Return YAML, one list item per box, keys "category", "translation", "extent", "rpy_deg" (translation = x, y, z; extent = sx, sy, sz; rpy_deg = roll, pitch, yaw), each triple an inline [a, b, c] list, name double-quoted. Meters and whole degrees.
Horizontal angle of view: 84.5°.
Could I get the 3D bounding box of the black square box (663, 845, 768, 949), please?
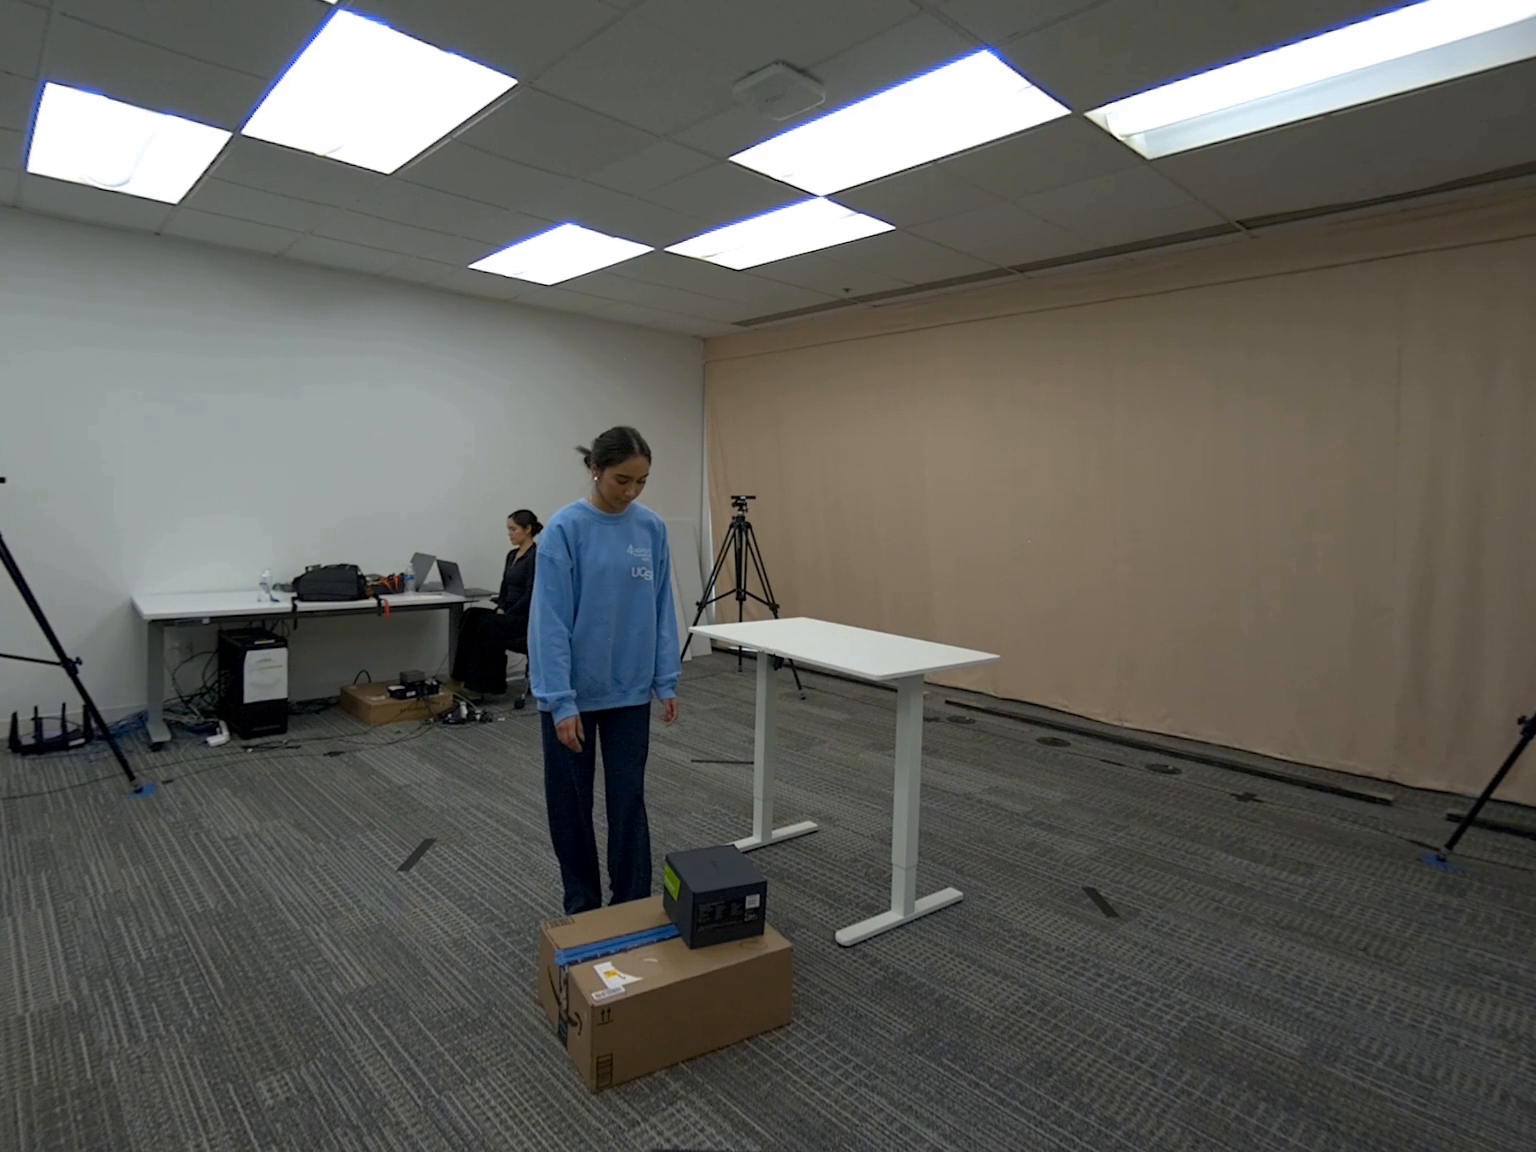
- category: "black square box"
  translation: [-0.156, 0.871, 2.315]
  extent: [0.213, 0.155, 0.233]
  rpy_deg: [0, 8, -24]
